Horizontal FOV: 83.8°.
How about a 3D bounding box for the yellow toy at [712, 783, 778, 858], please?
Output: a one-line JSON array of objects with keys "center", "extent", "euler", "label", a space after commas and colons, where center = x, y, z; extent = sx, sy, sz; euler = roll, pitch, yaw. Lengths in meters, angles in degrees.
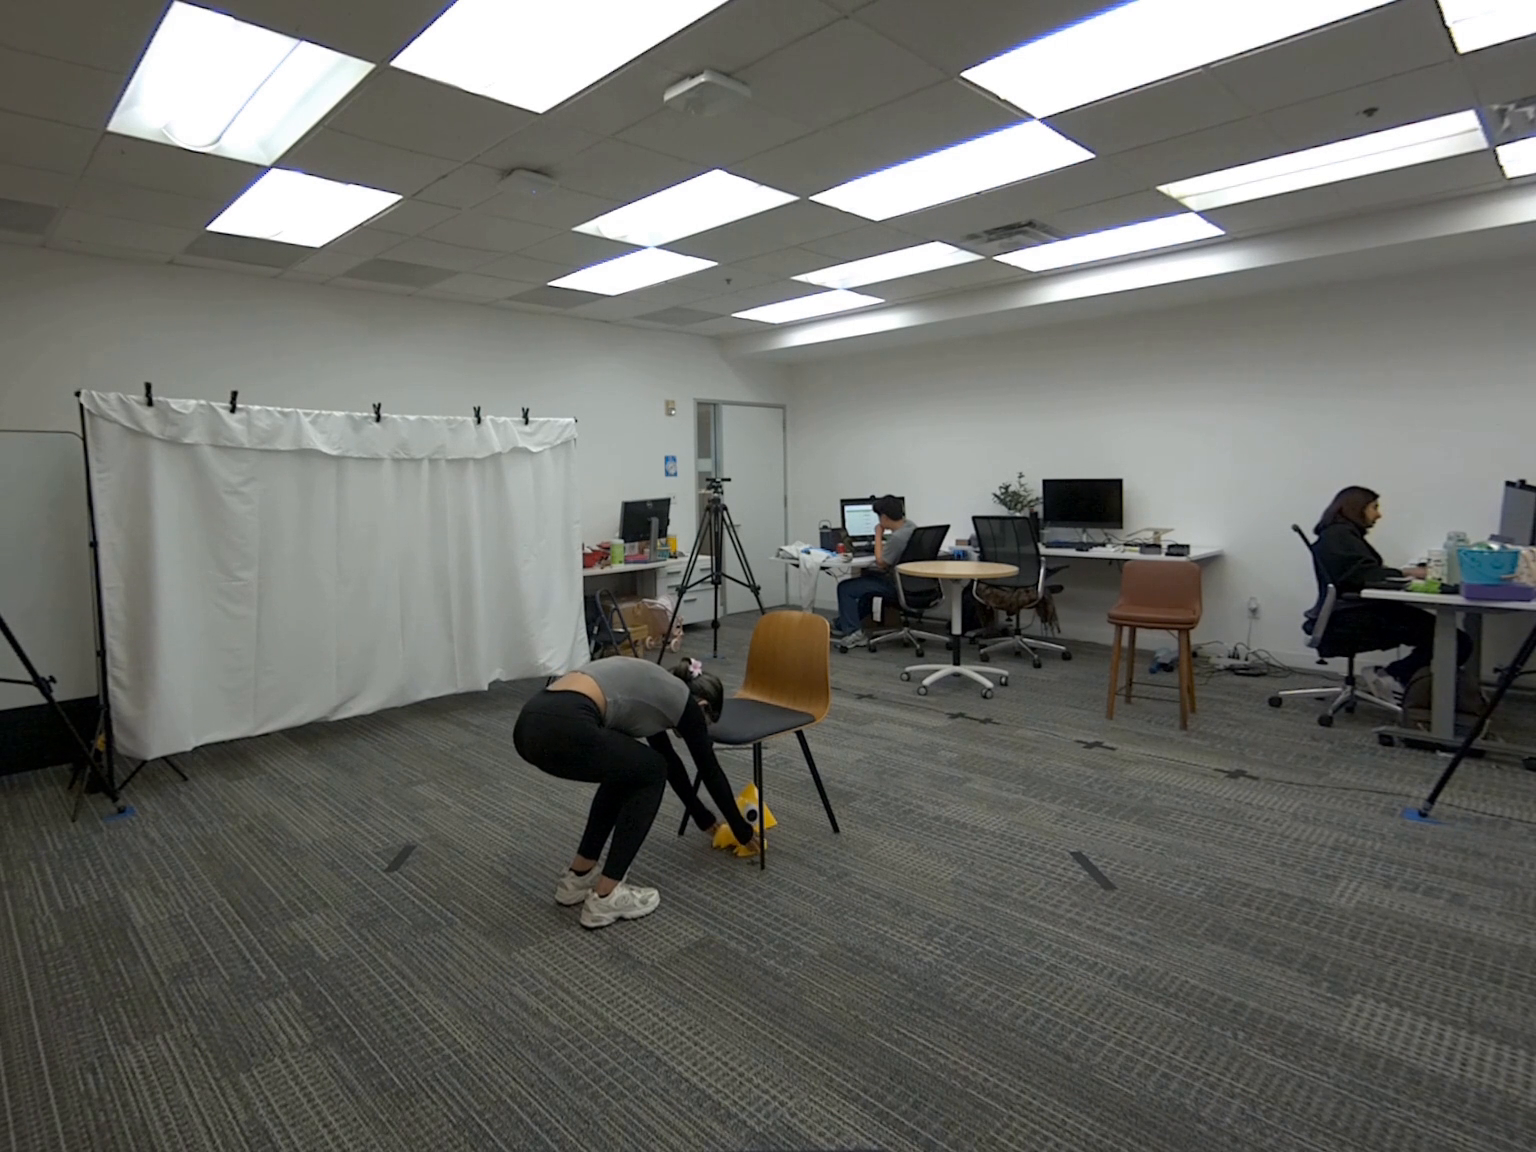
[{"center": [-0.103, 0.912, 3.255], "extent": [0.211, 0.230, 0.188], "euler": [6, 7, 42], "label": "yellow toy"}]
